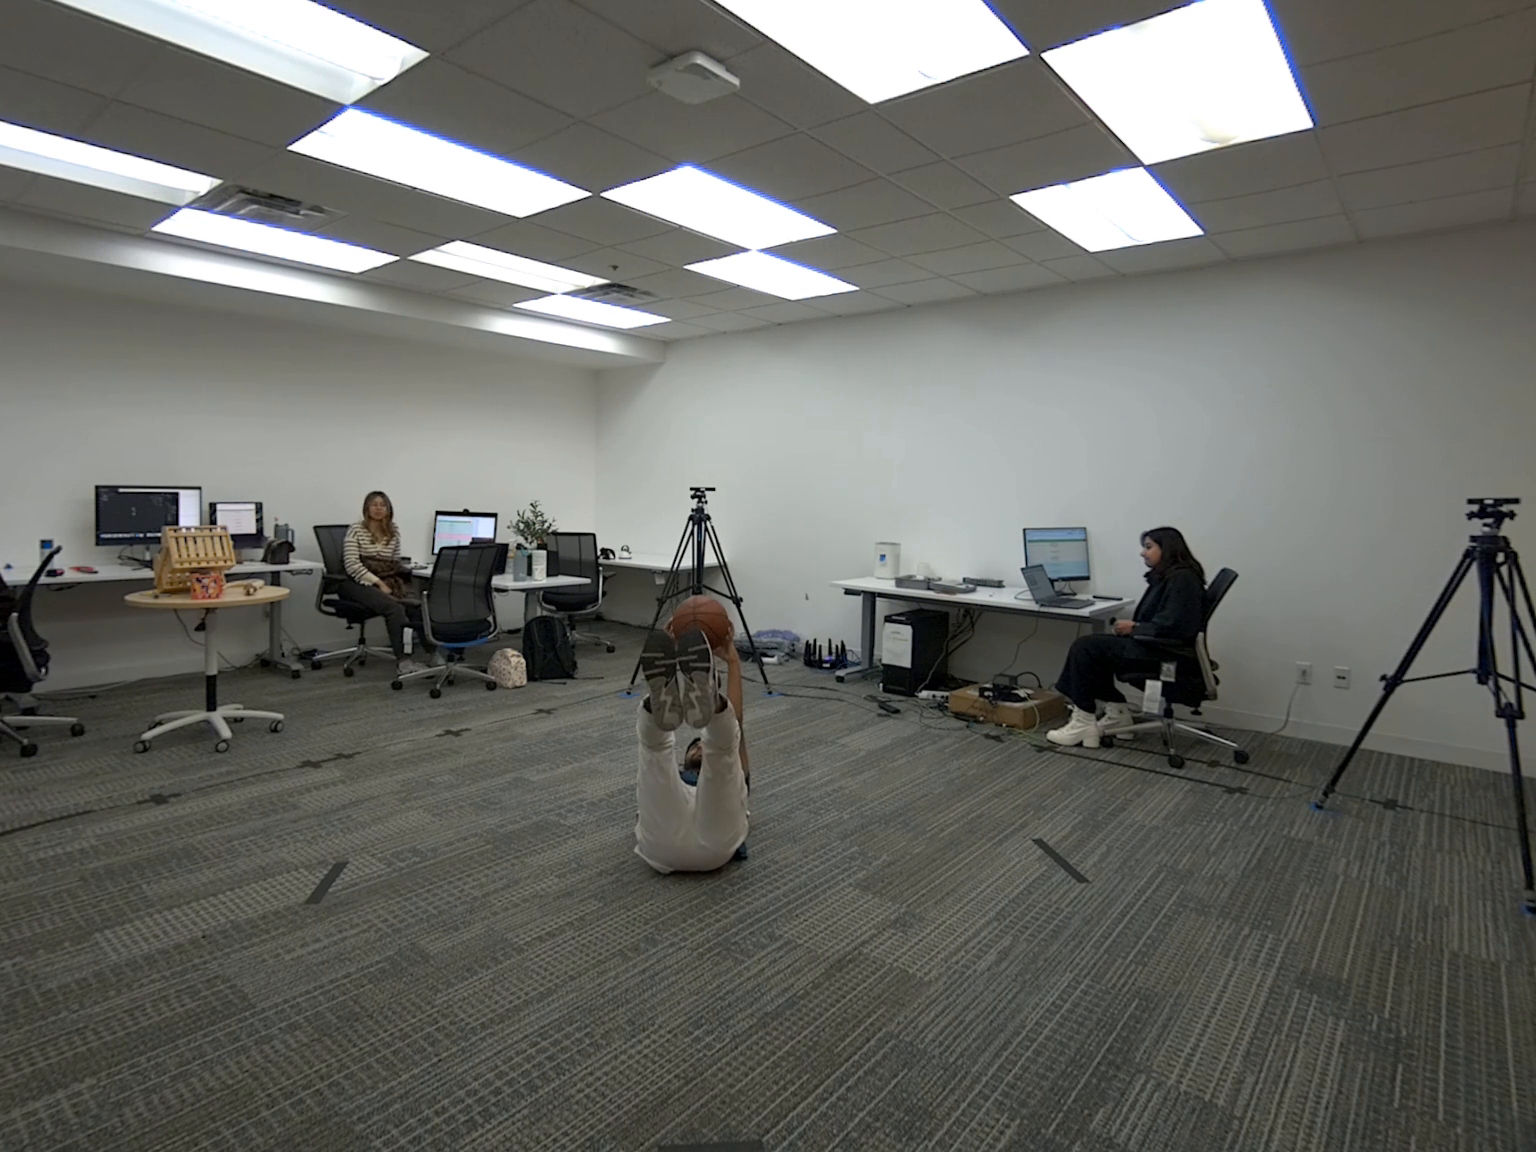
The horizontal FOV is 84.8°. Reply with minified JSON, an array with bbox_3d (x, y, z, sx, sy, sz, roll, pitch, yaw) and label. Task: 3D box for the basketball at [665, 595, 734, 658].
[{"bbox_3d":[-0.300,0.201,3.543,0.235,0.235,0.237,1,4,-2],"label":"basketball"}]
